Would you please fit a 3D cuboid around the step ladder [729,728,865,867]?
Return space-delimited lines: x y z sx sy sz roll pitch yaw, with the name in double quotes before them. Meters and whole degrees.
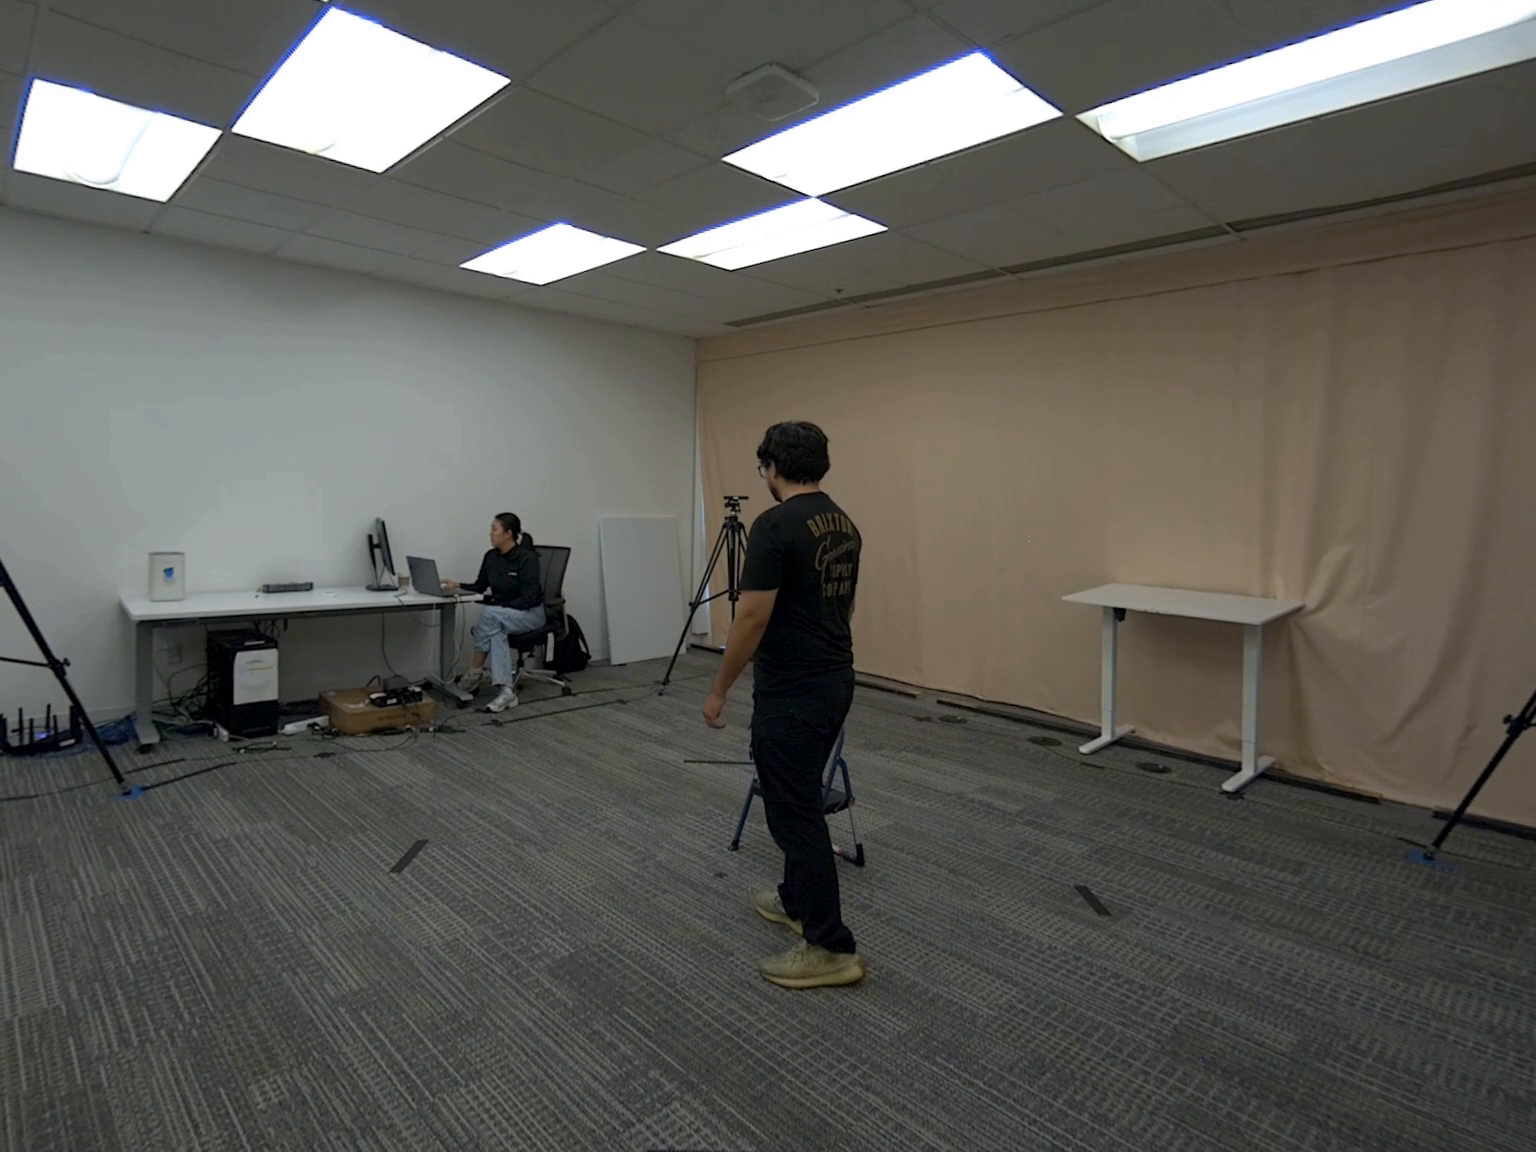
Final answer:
"step ladder" 0.117 0.795 3.258 0.341 0.605 0.441 -1 4 -38
